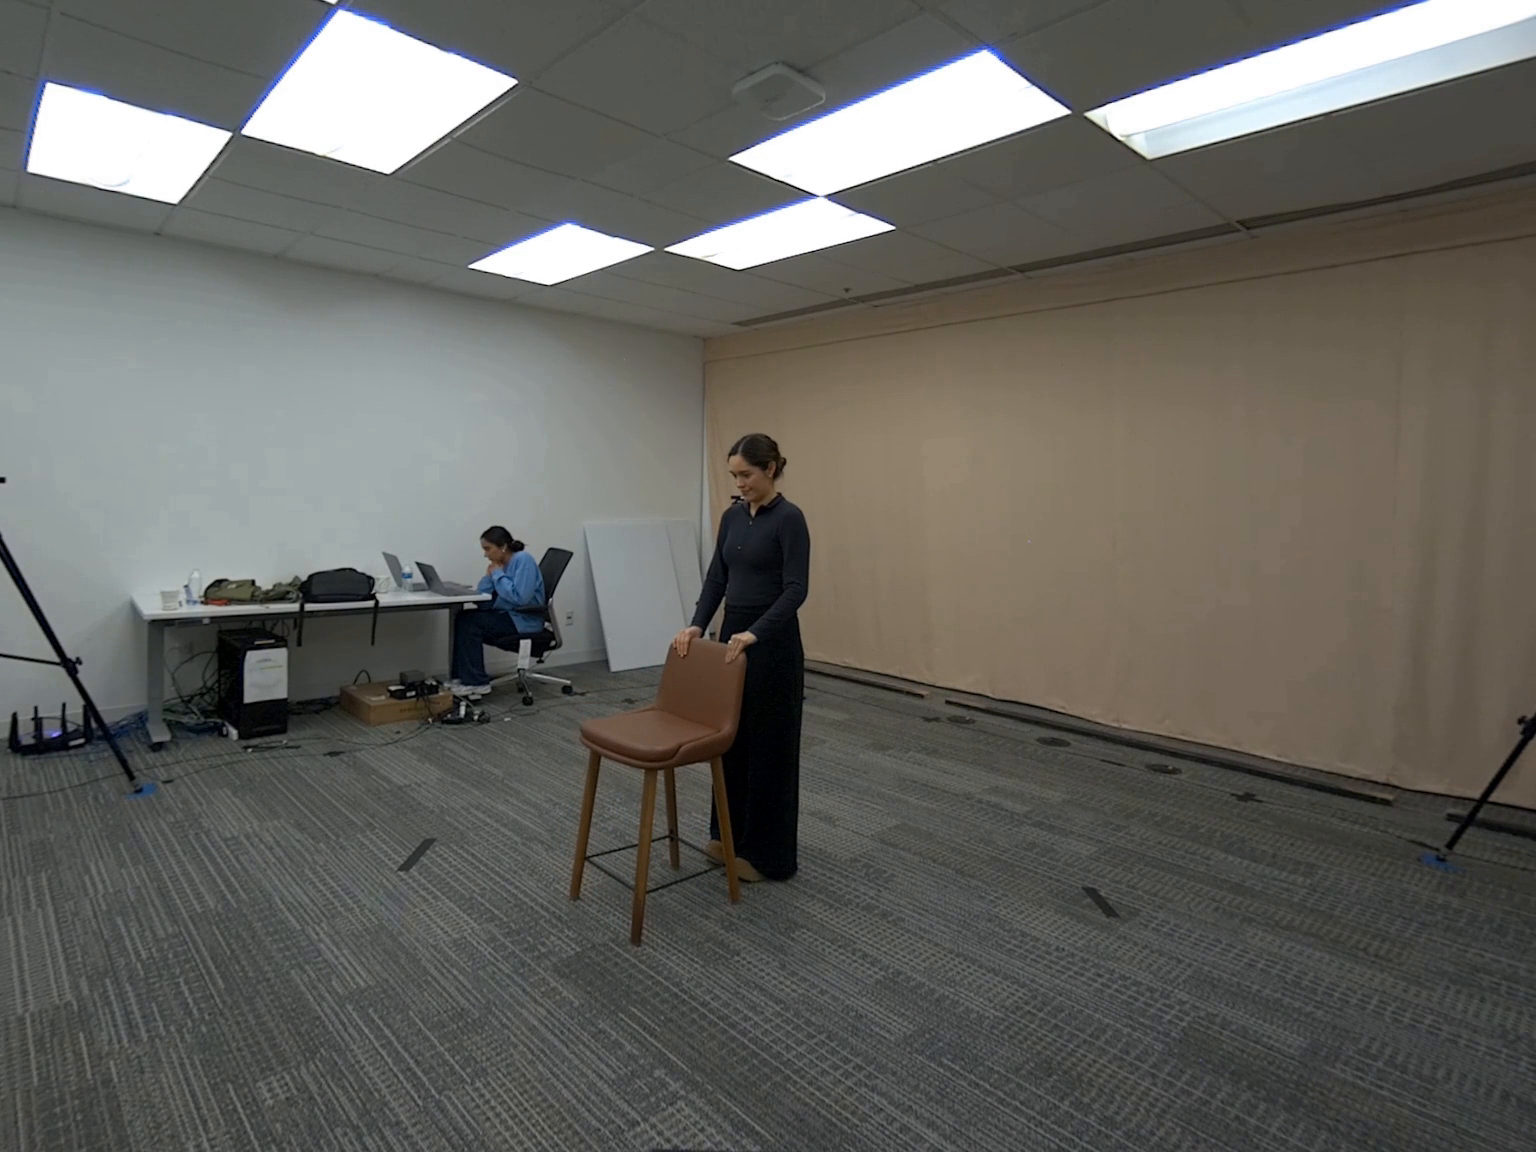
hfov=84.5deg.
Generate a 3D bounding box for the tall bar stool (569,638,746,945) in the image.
[{"bbox_3d":[-0.370,0.682,2.866,0.456,0.888,0.468,1,3,-41],"label":"tall bar stool"}]
